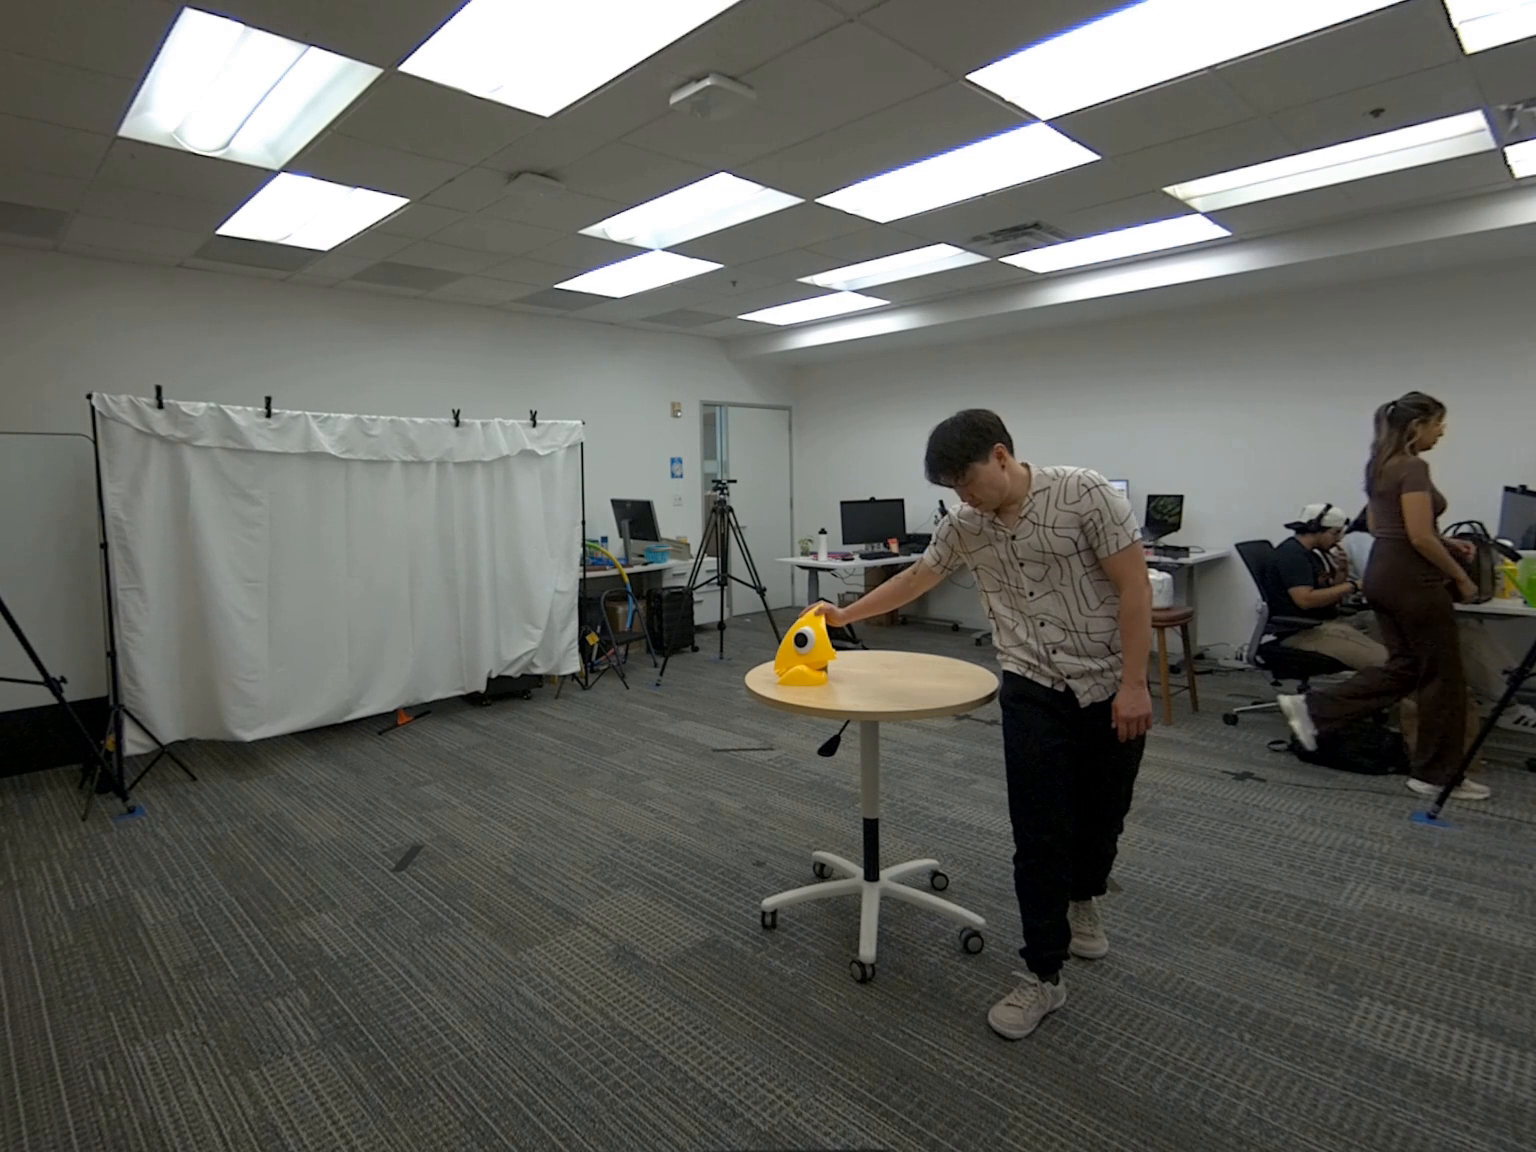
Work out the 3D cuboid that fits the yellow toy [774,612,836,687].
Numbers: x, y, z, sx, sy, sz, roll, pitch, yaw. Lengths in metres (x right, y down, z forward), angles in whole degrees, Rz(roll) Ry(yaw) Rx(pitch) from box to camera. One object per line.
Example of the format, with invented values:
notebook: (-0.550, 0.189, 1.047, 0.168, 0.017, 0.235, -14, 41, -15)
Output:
yellow toy: (0.113, 0.205, 2.638, 0.193, 0.230, 0.205, 0, 6, 1)
